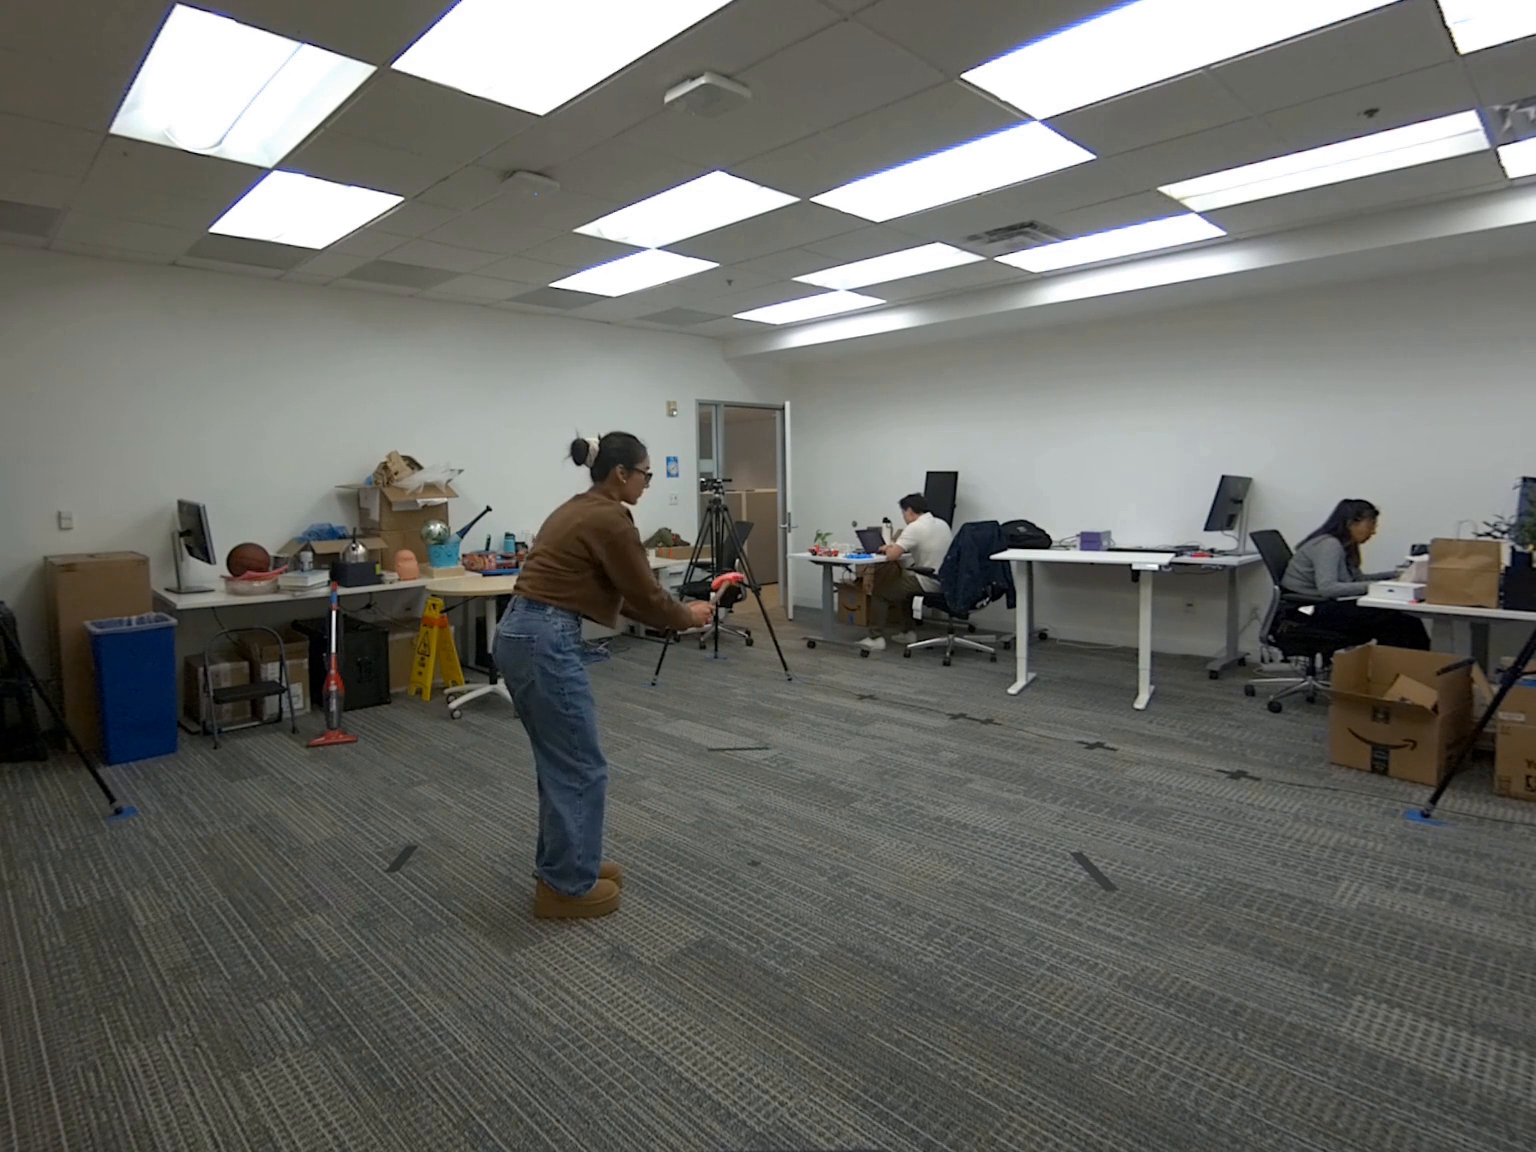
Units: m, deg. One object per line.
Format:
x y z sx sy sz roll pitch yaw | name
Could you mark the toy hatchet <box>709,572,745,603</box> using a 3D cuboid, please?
-0.209 0.078 3.151 0.135 0.029 0.270 3 38 44 | toy hatchet
